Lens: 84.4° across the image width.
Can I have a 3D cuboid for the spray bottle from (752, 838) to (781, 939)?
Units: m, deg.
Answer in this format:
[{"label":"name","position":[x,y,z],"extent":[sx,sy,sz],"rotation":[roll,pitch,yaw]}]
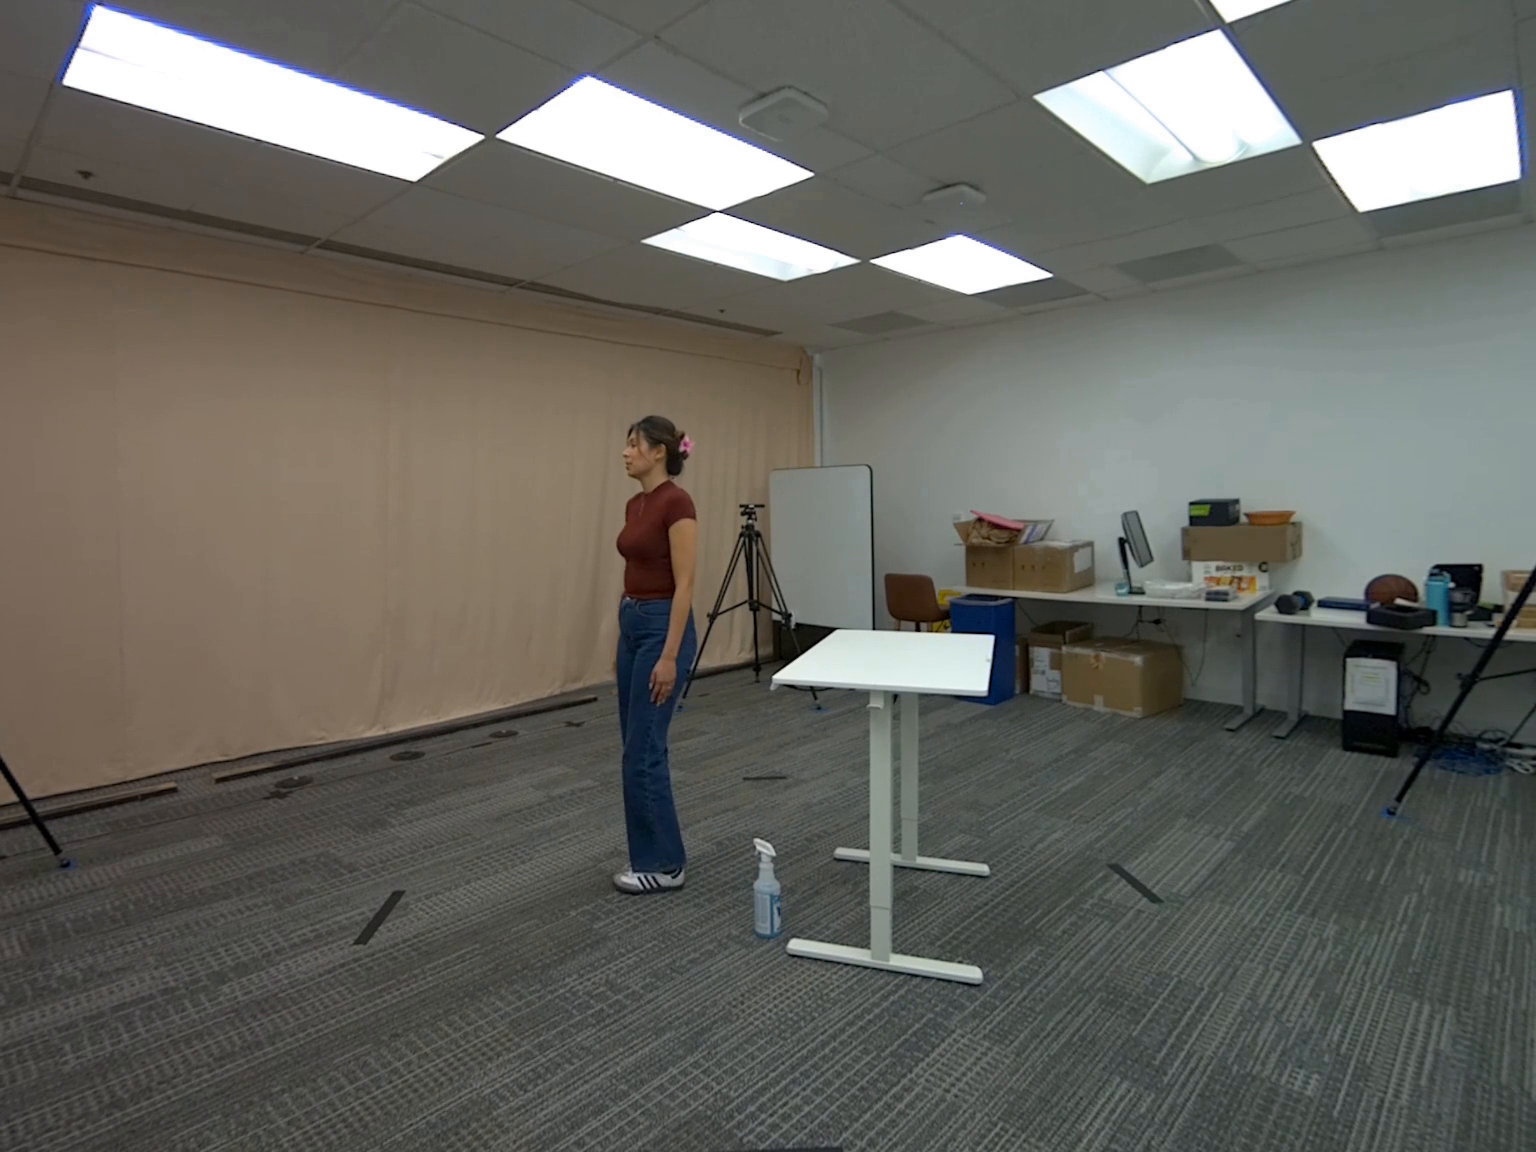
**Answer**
[{"label":"spray bottle","position":[-0.002,1.014,2.736],"extent":[0.085,0.297,0.092],"rotation":[-2,2,-17]}]
